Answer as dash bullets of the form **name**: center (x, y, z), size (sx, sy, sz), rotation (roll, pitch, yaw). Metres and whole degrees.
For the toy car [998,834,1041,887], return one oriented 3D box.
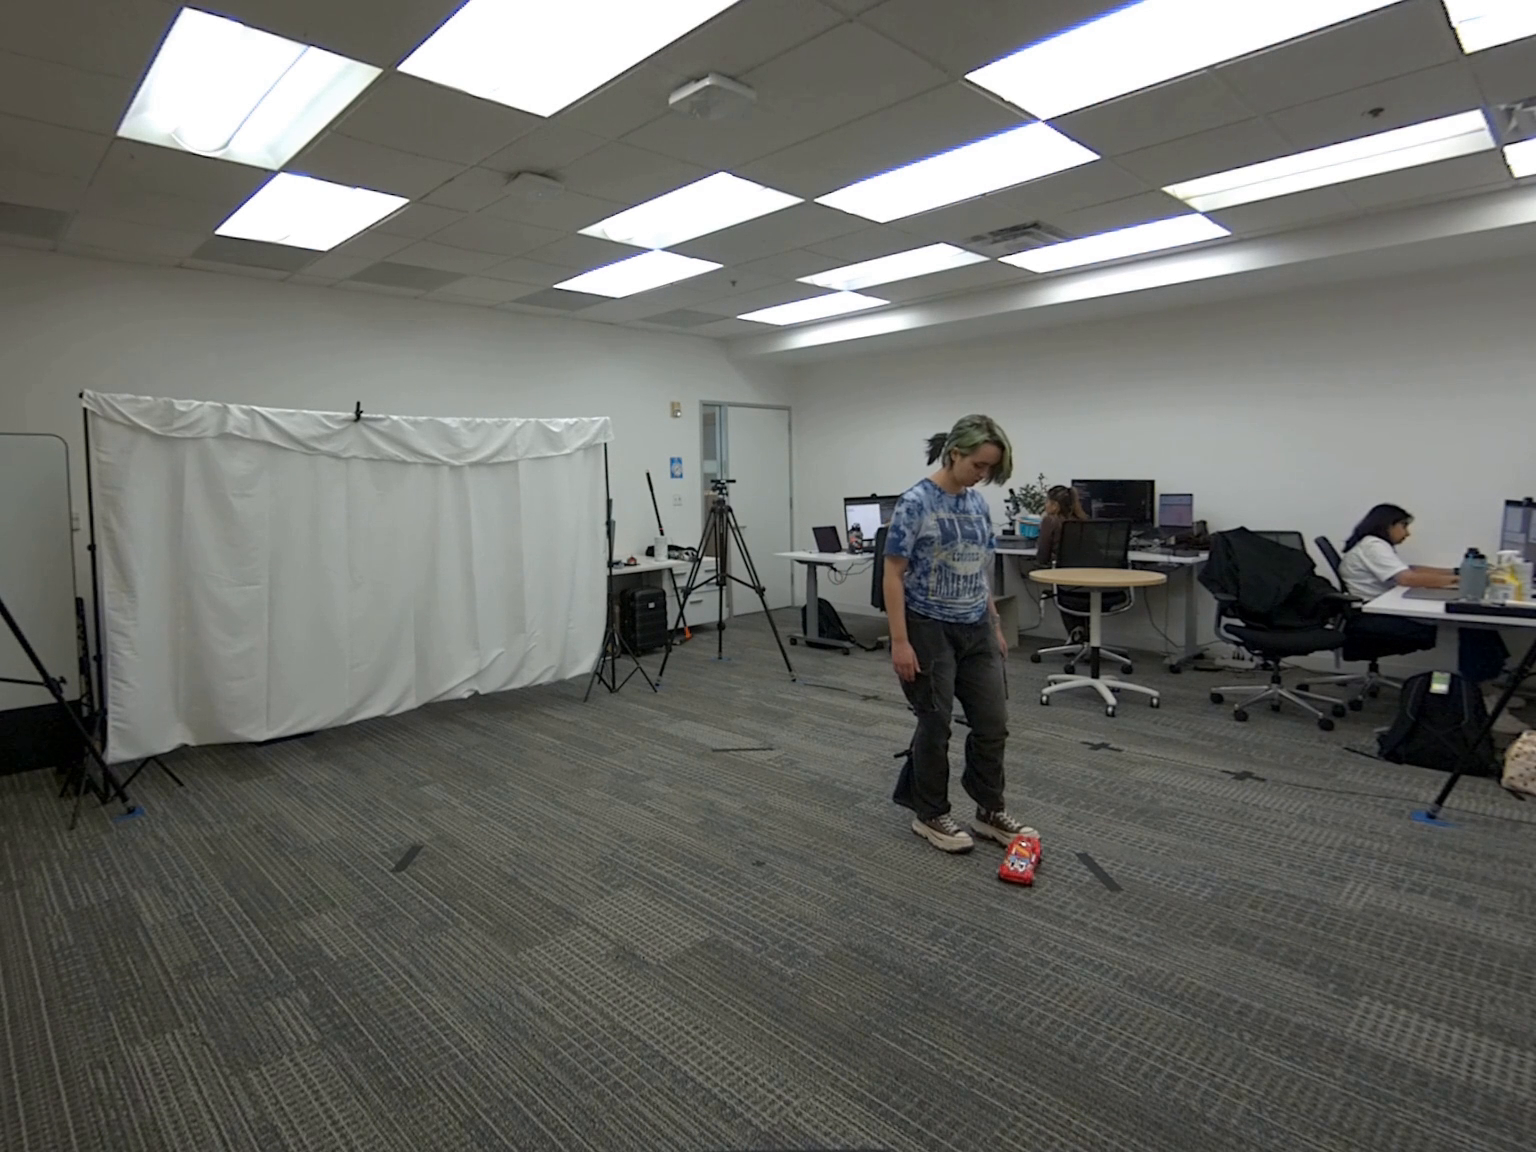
- **toy car**: center (0.894, 1.001, 3.008), size (0.134, 0.081, 0.253), rotation (3, 24, 29)
